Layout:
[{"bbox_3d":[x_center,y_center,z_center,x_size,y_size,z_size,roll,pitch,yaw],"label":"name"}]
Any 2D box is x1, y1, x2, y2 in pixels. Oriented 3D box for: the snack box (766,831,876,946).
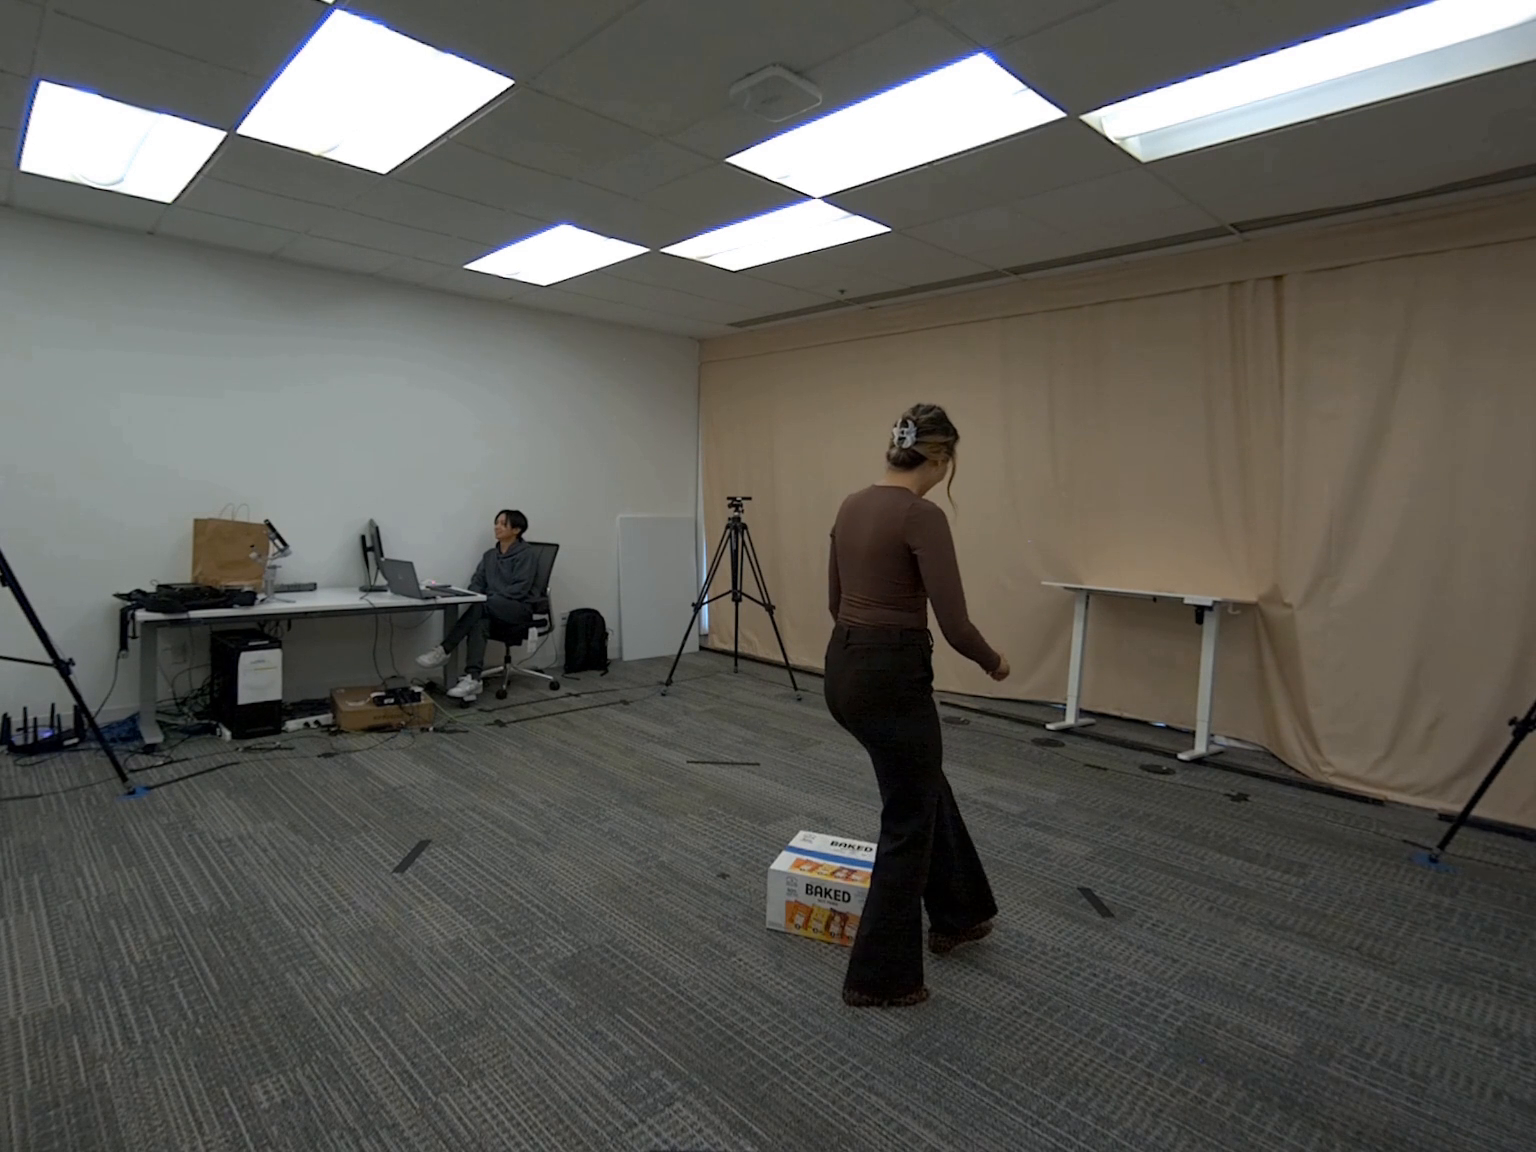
[{"bbox_3d":[0.241,1.041,2.797,0.412,0.205,0.335,3,5,21],"label":"snack box"}]
